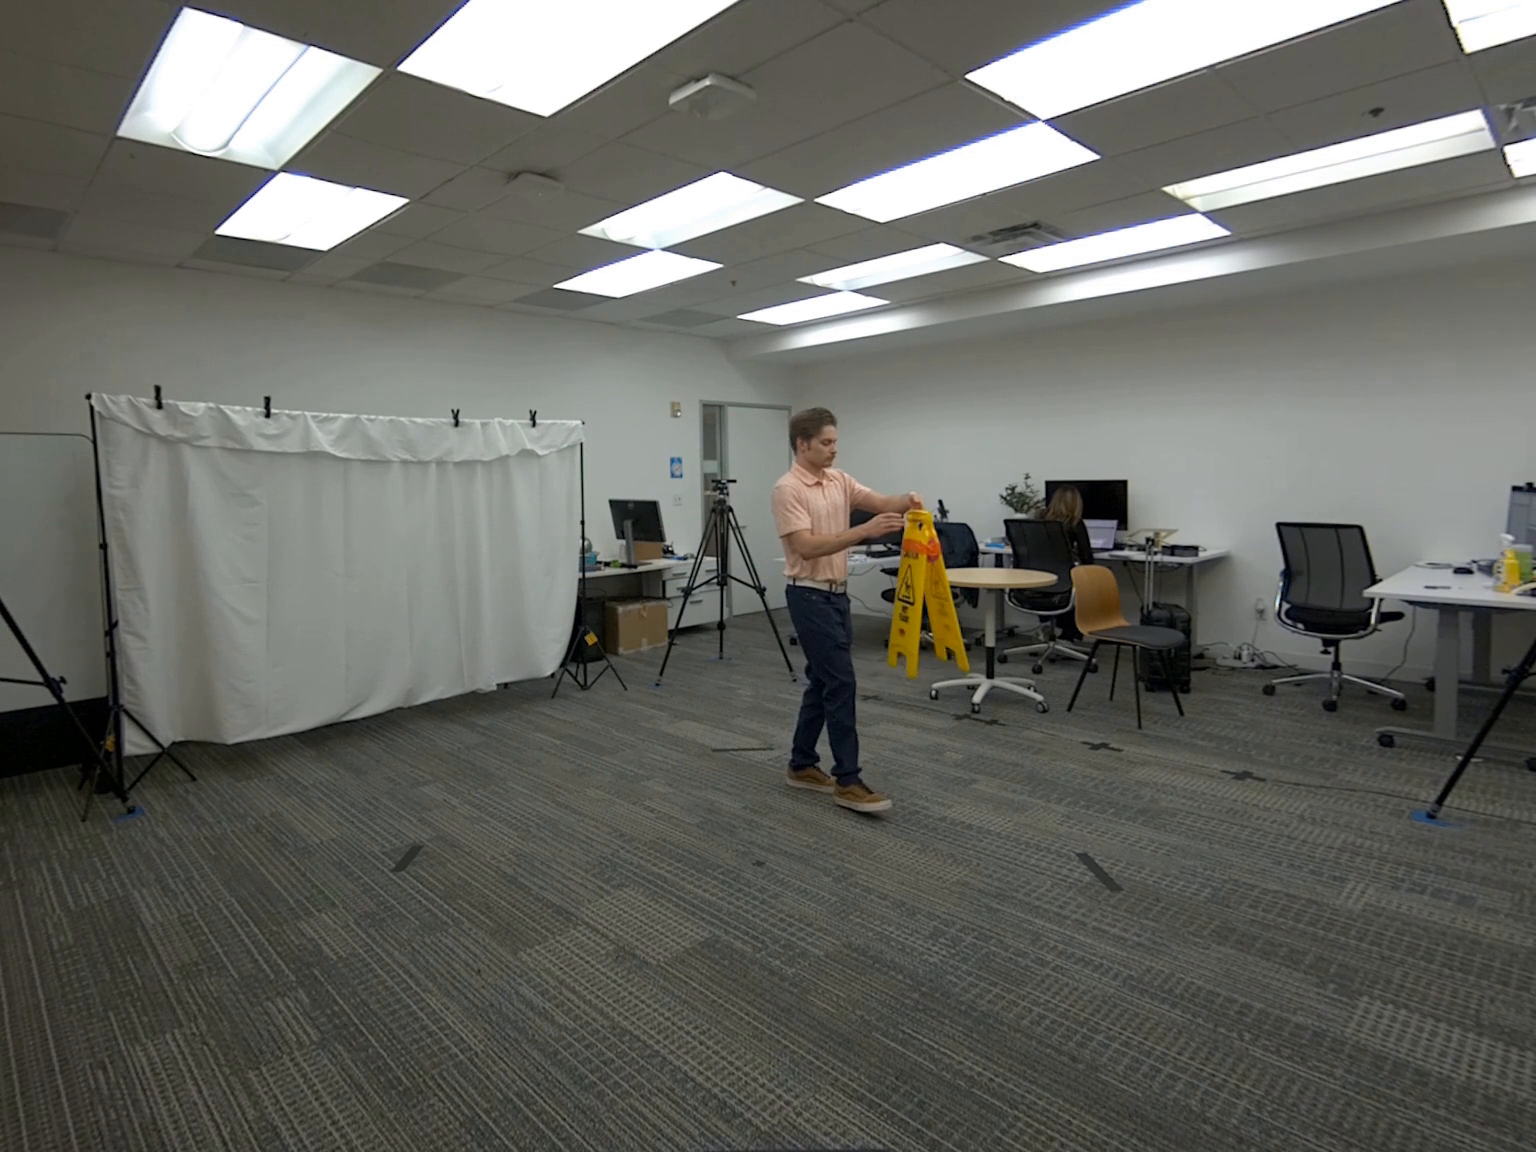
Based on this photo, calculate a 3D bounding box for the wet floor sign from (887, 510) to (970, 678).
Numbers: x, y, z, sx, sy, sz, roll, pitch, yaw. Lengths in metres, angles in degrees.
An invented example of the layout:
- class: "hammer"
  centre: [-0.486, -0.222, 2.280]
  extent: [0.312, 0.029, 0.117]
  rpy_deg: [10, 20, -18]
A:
- class: "wet floor sign"
  centre: [0.637, 0.055, 3.496]
  extent: [0.287, 0.644, 0.286]
  rpy_deg: [-6, 4, -12]
